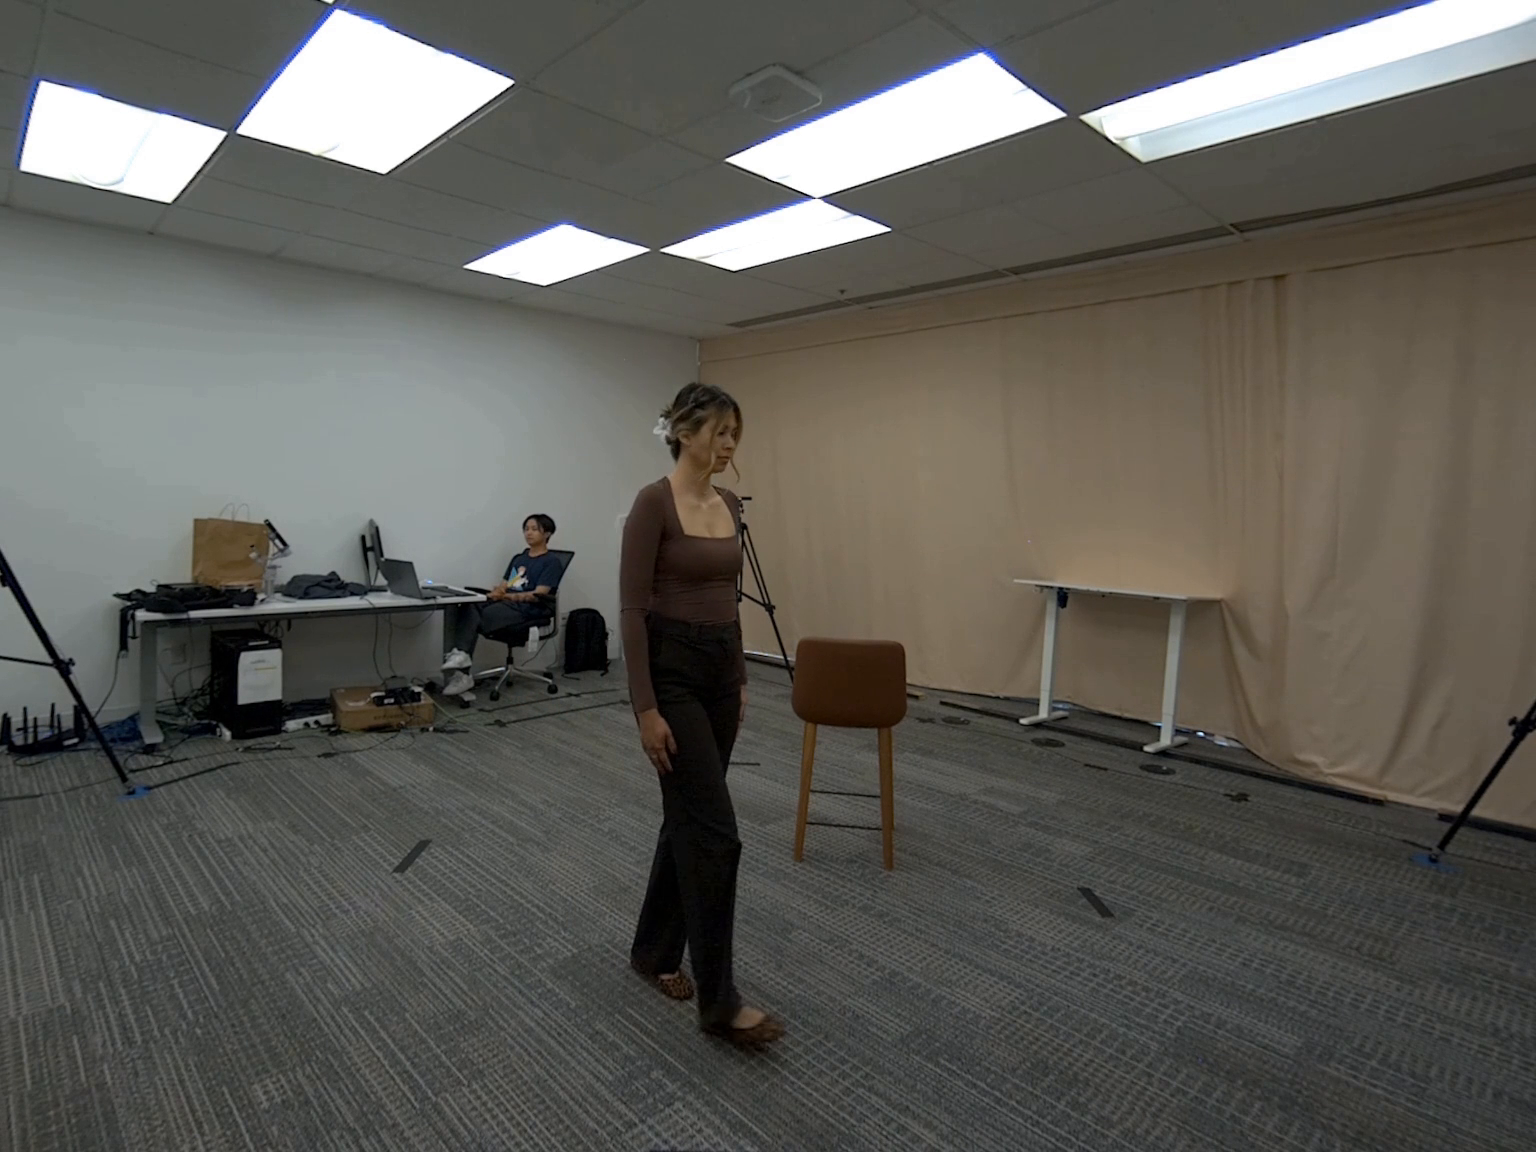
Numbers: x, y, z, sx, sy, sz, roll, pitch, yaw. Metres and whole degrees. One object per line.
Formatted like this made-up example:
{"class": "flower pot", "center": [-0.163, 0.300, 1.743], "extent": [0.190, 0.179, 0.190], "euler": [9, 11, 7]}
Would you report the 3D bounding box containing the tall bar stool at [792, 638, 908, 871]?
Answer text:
{"class": "tall bar stool", "center": [0.317, 0.655, 3.405], "extent": [0.460, 0.887, 0.466], "euler": [2, 4, 8]}
